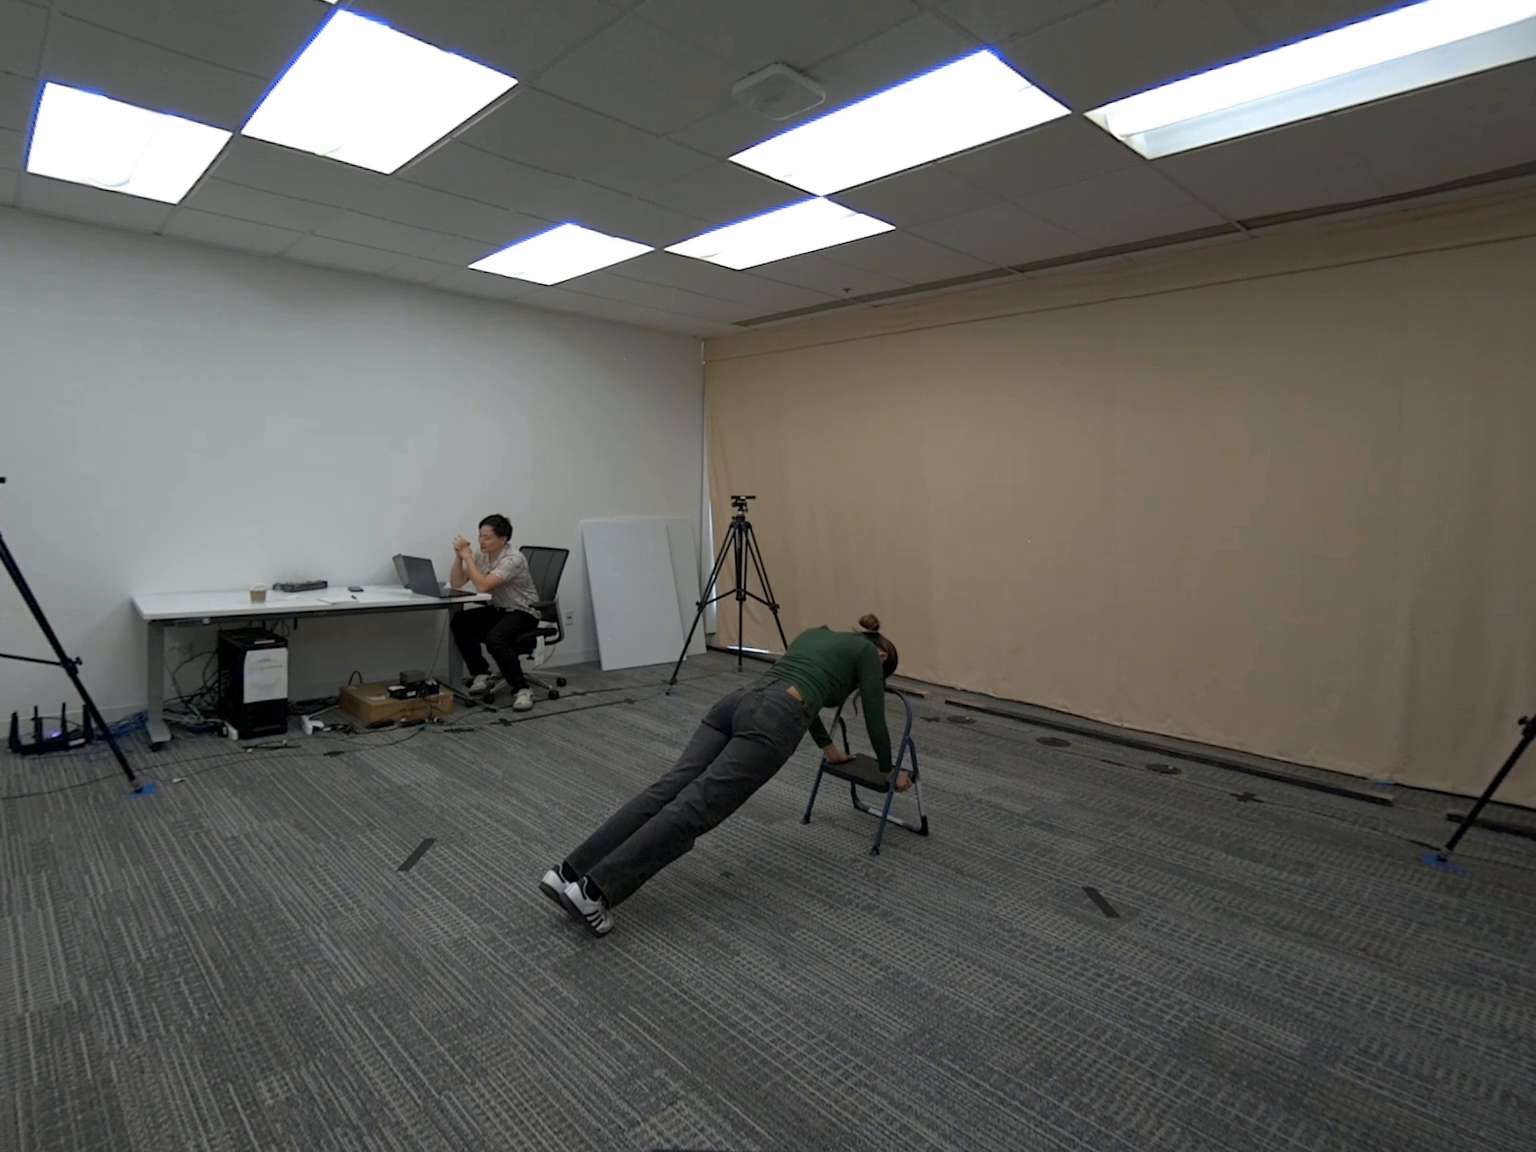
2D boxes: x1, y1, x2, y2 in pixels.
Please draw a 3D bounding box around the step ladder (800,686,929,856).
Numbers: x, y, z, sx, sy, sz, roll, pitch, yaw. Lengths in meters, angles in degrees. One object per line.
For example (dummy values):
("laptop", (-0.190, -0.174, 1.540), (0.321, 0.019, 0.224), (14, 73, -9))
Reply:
("step ladder", (0.411, 0.775, 3.557), (0.341, 0.605, 0.441), (-1, 4, -40))
